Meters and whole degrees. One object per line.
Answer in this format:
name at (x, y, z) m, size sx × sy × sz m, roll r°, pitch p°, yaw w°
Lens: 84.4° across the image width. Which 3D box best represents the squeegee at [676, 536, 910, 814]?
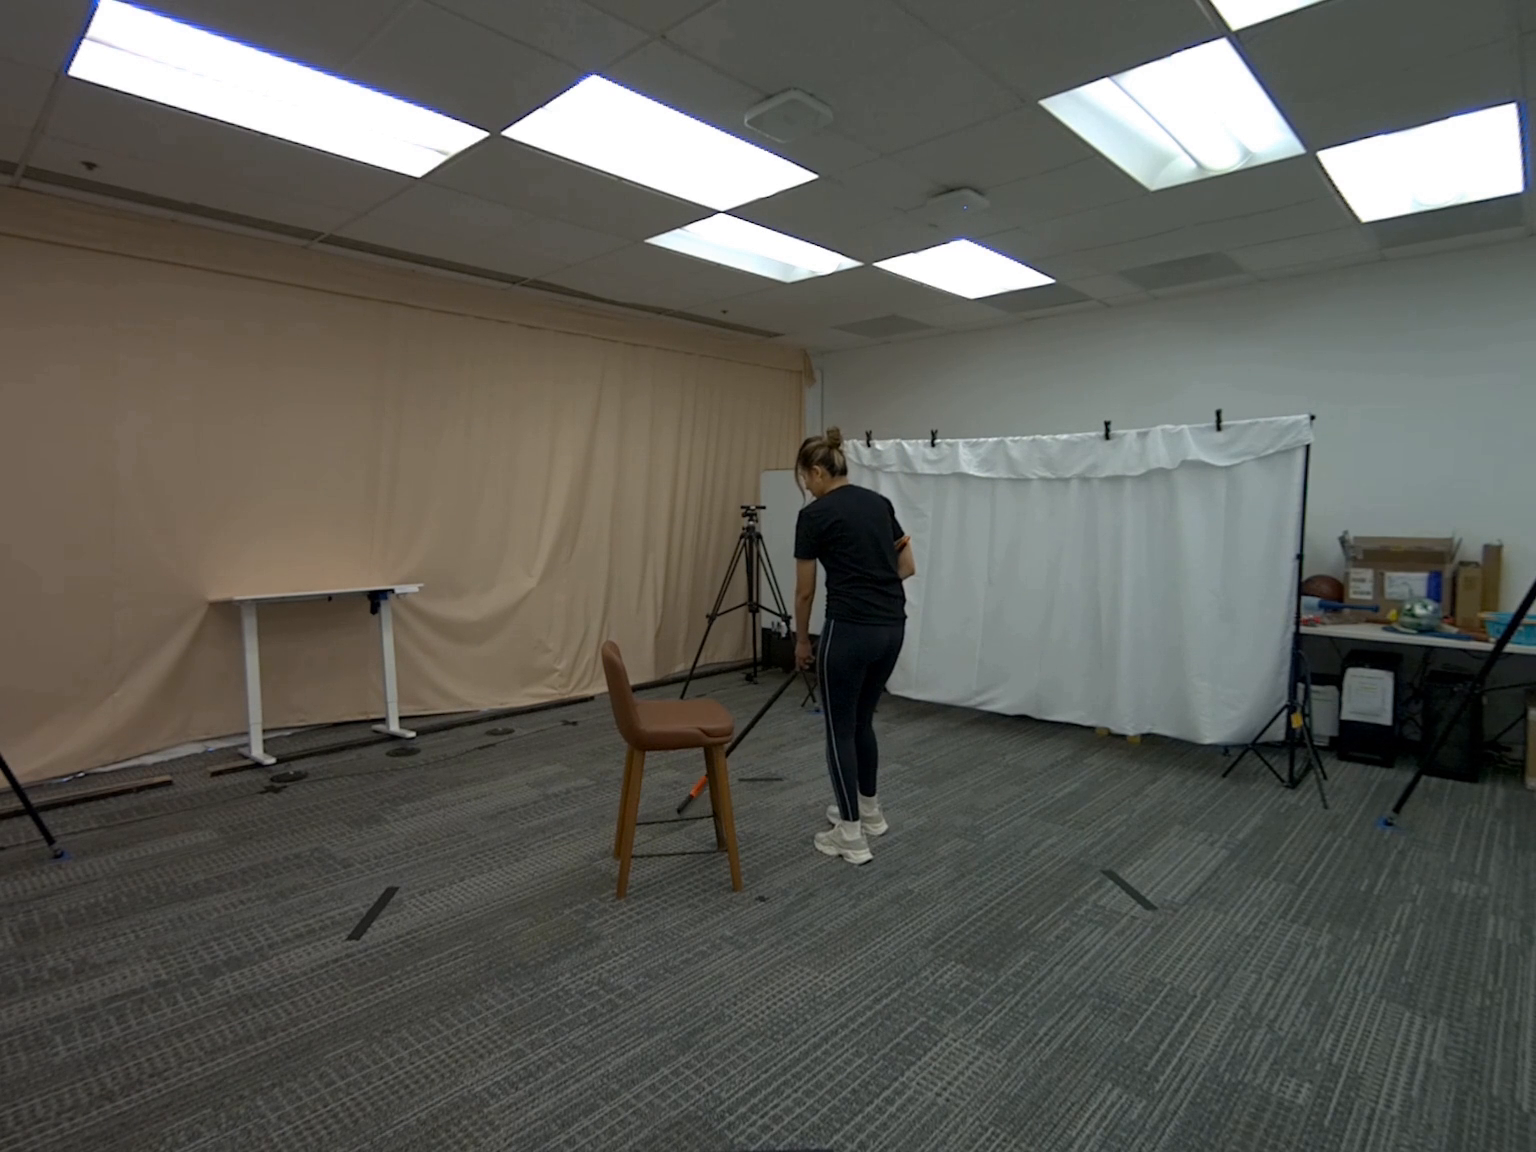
squeegee at (0.099, 0.429, 3.615) m, size 0.053 × 1.542 × 0.431 m, roll 42°, pitch 15°, yaw 7°
